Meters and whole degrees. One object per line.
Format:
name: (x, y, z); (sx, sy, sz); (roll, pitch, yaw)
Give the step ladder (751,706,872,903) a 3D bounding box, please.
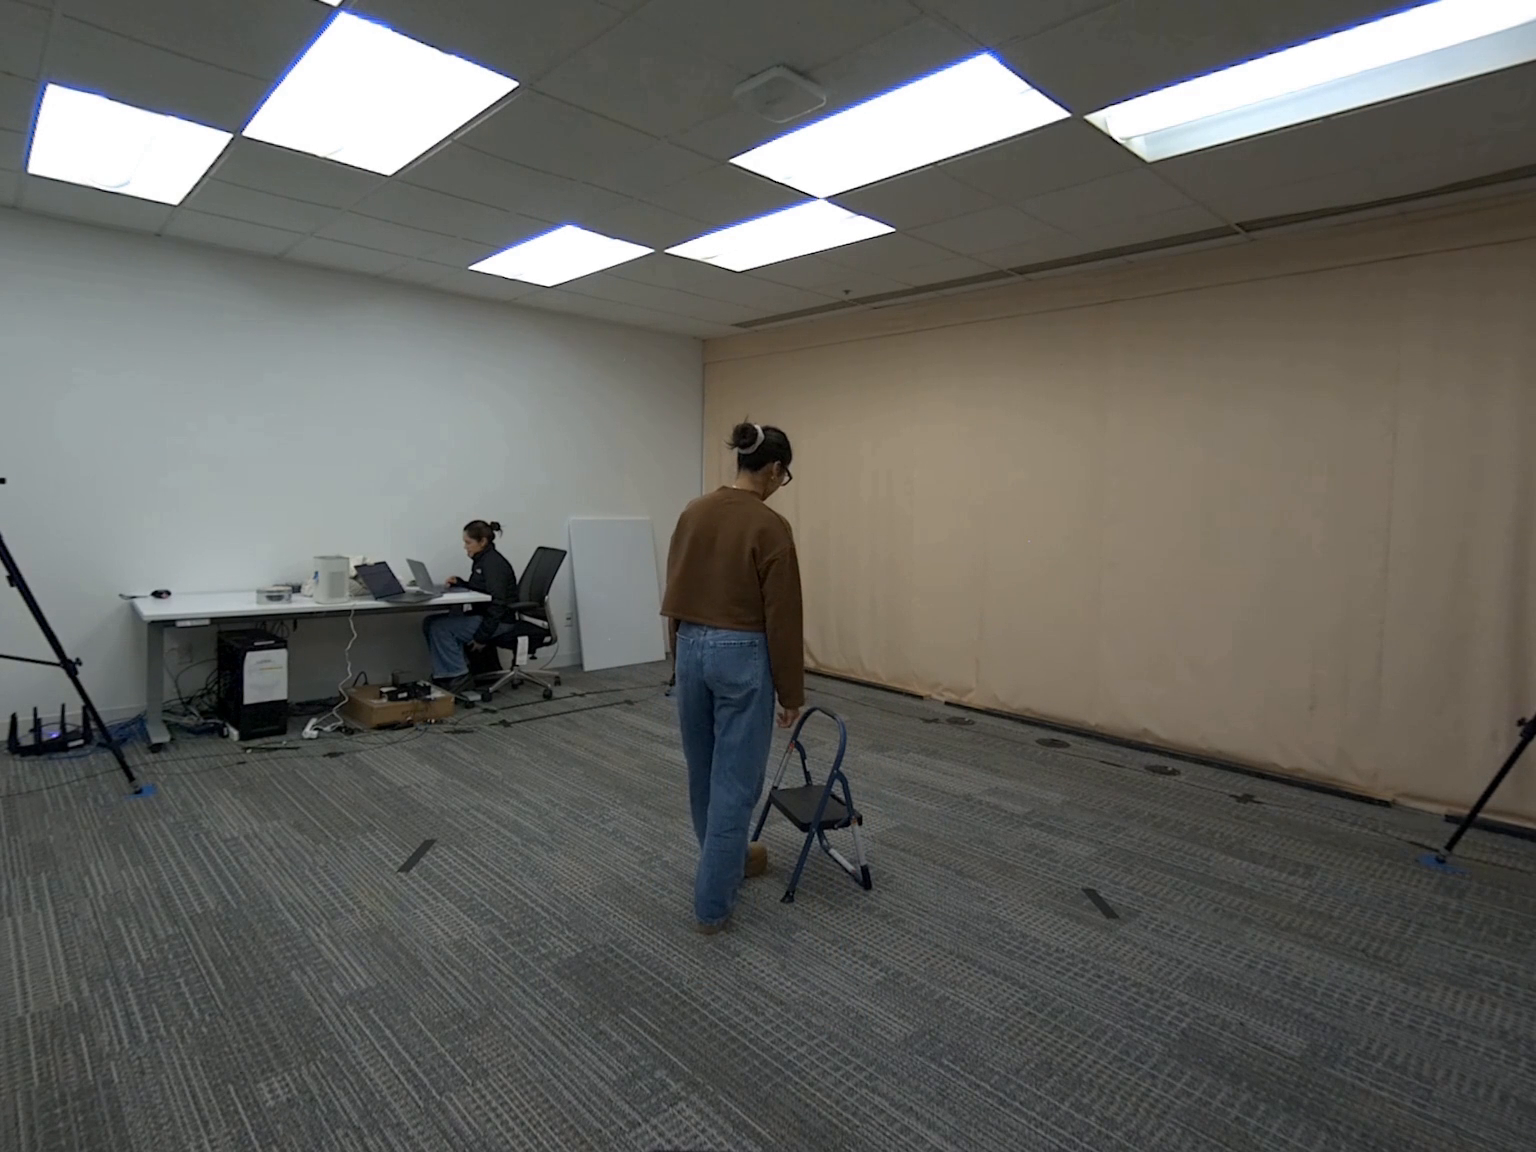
step ladder: (0.140, 0.809, 3.137); (0.344, 0.604, 0.438); (0, 4, -20)
